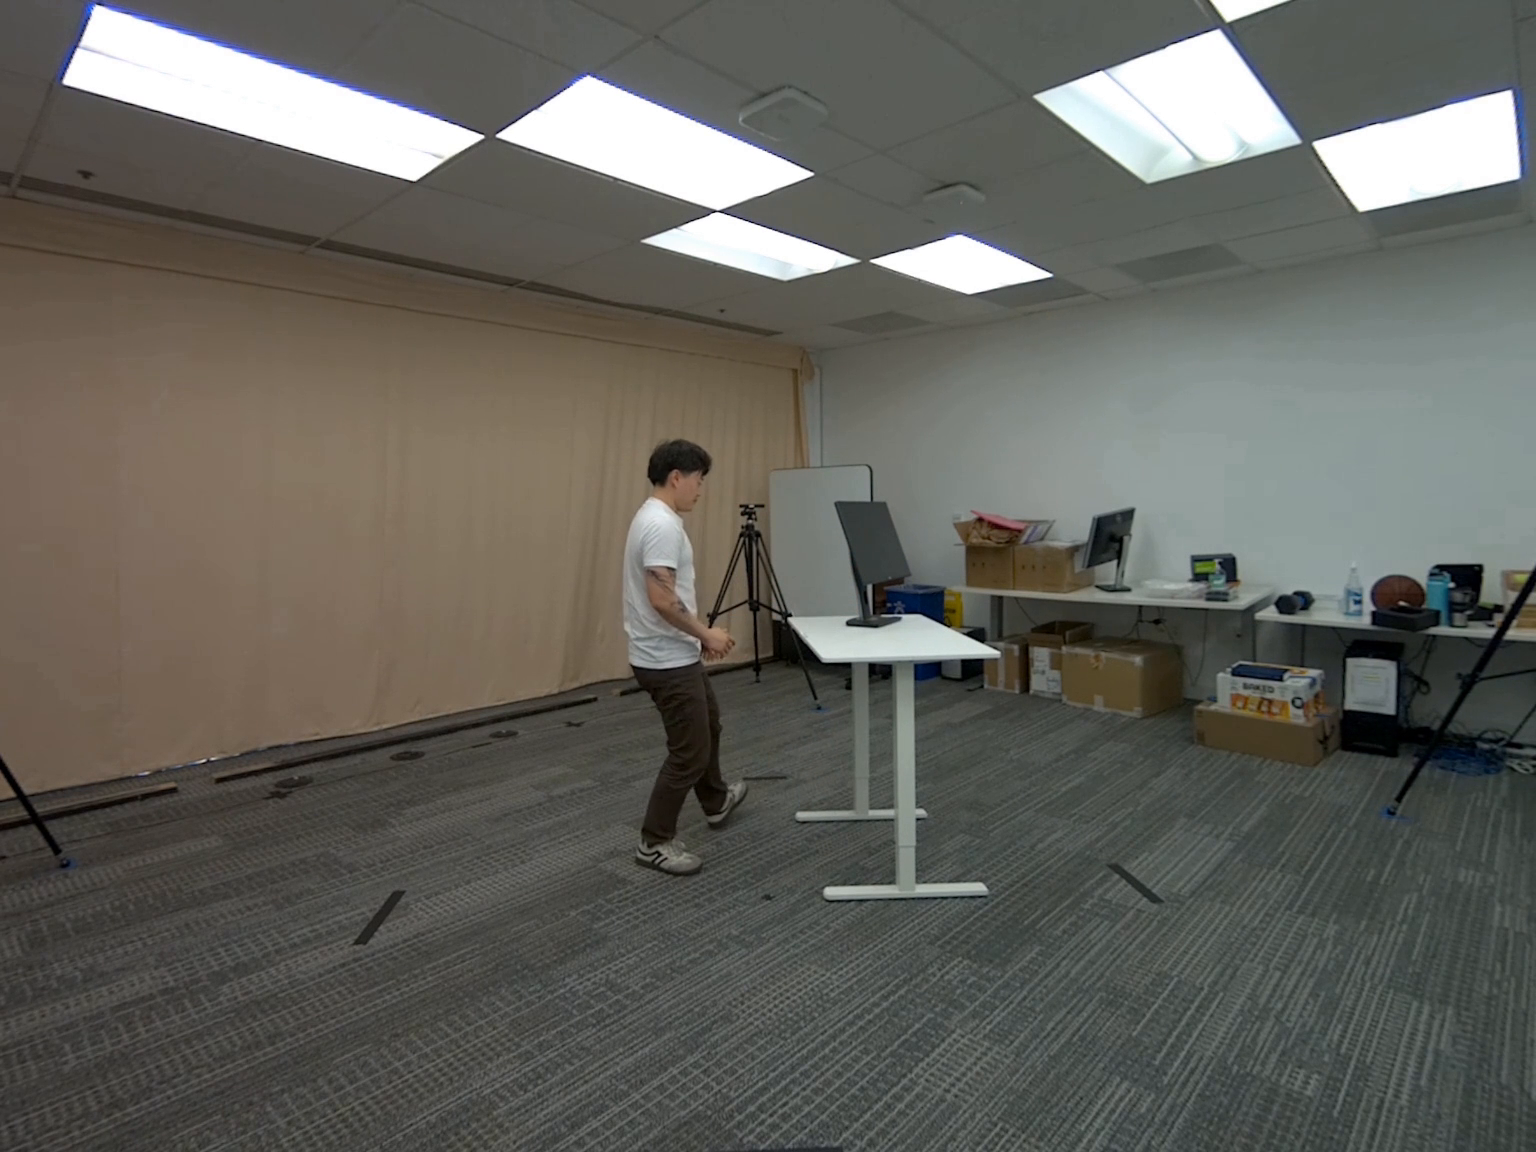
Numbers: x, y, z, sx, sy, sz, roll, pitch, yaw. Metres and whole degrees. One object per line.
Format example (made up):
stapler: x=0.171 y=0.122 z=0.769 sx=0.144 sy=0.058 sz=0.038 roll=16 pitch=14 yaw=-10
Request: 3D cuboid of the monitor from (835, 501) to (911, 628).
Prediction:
monitor: x=0.429 y=-0.053 z=3.575 sx=0.192 sy=0.522 sz=0.526 roll=-5 pitch=1 yaw=27
